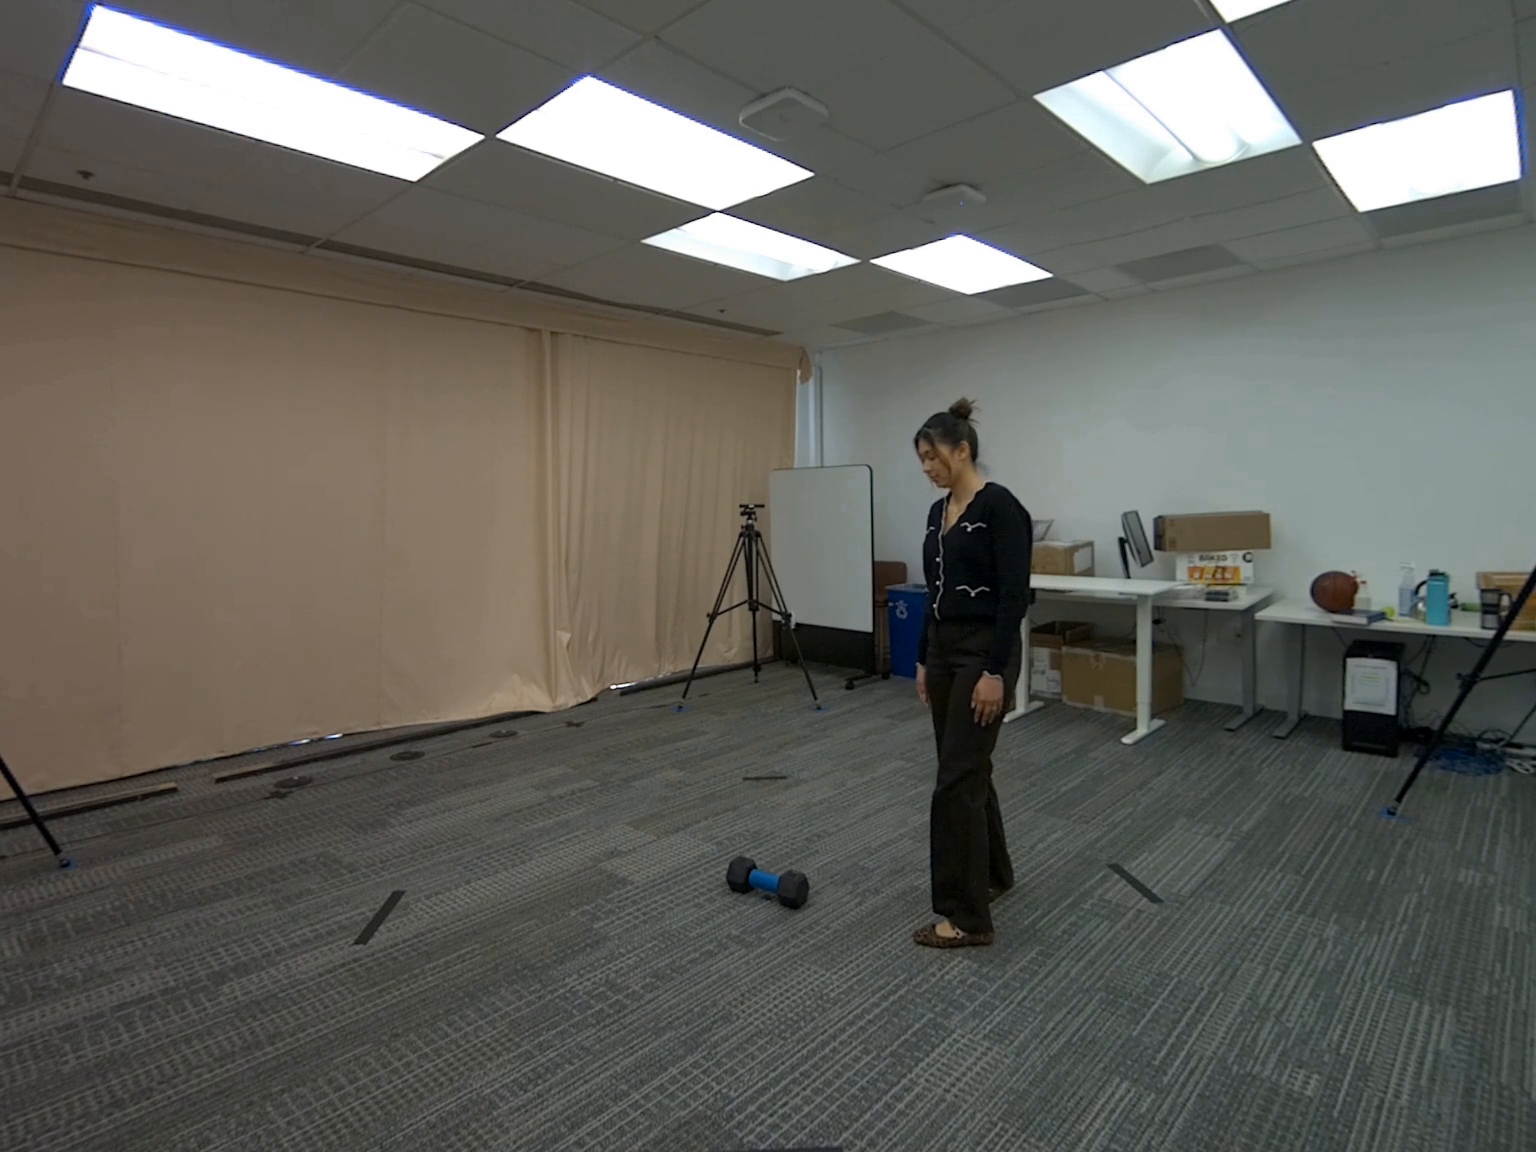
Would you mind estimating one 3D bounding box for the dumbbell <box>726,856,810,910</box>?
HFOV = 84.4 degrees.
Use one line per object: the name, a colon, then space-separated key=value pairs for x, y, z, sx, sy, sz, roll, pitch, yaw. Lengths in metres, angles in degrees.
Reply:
dumbbell: x=-0.002 y=1.087 z=2.983 sx=0.303 sy=0.120 sz=0.108 roll=3 pitch=34 yaw=34
